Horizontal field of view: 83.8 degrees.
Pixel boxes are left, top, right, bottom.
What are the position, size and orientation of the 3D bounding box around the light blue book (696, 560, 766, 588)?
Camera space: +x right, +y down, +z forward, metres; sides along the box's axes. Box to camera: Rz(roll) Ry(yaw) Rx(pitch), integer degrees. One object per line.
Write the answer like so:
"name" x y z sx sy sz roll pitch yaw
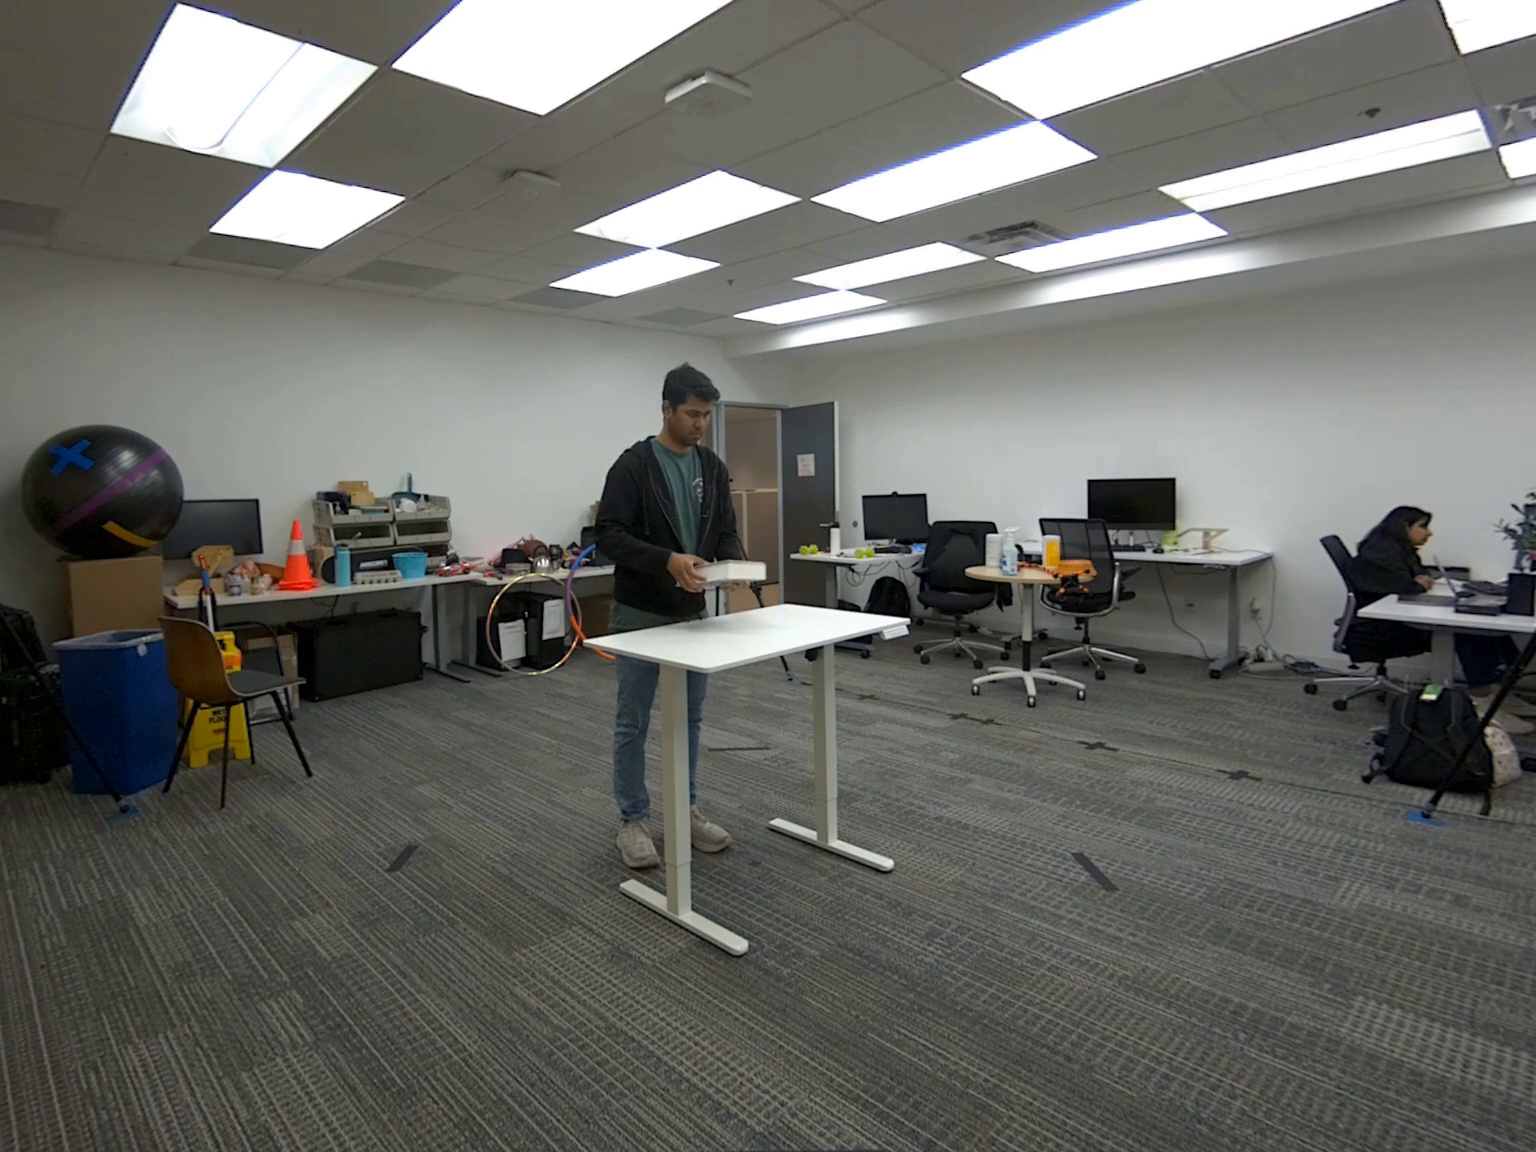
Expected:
"light blue book" -0.188 -0.002 2.955 0.267 0.059 0.186 -8 -7 35
